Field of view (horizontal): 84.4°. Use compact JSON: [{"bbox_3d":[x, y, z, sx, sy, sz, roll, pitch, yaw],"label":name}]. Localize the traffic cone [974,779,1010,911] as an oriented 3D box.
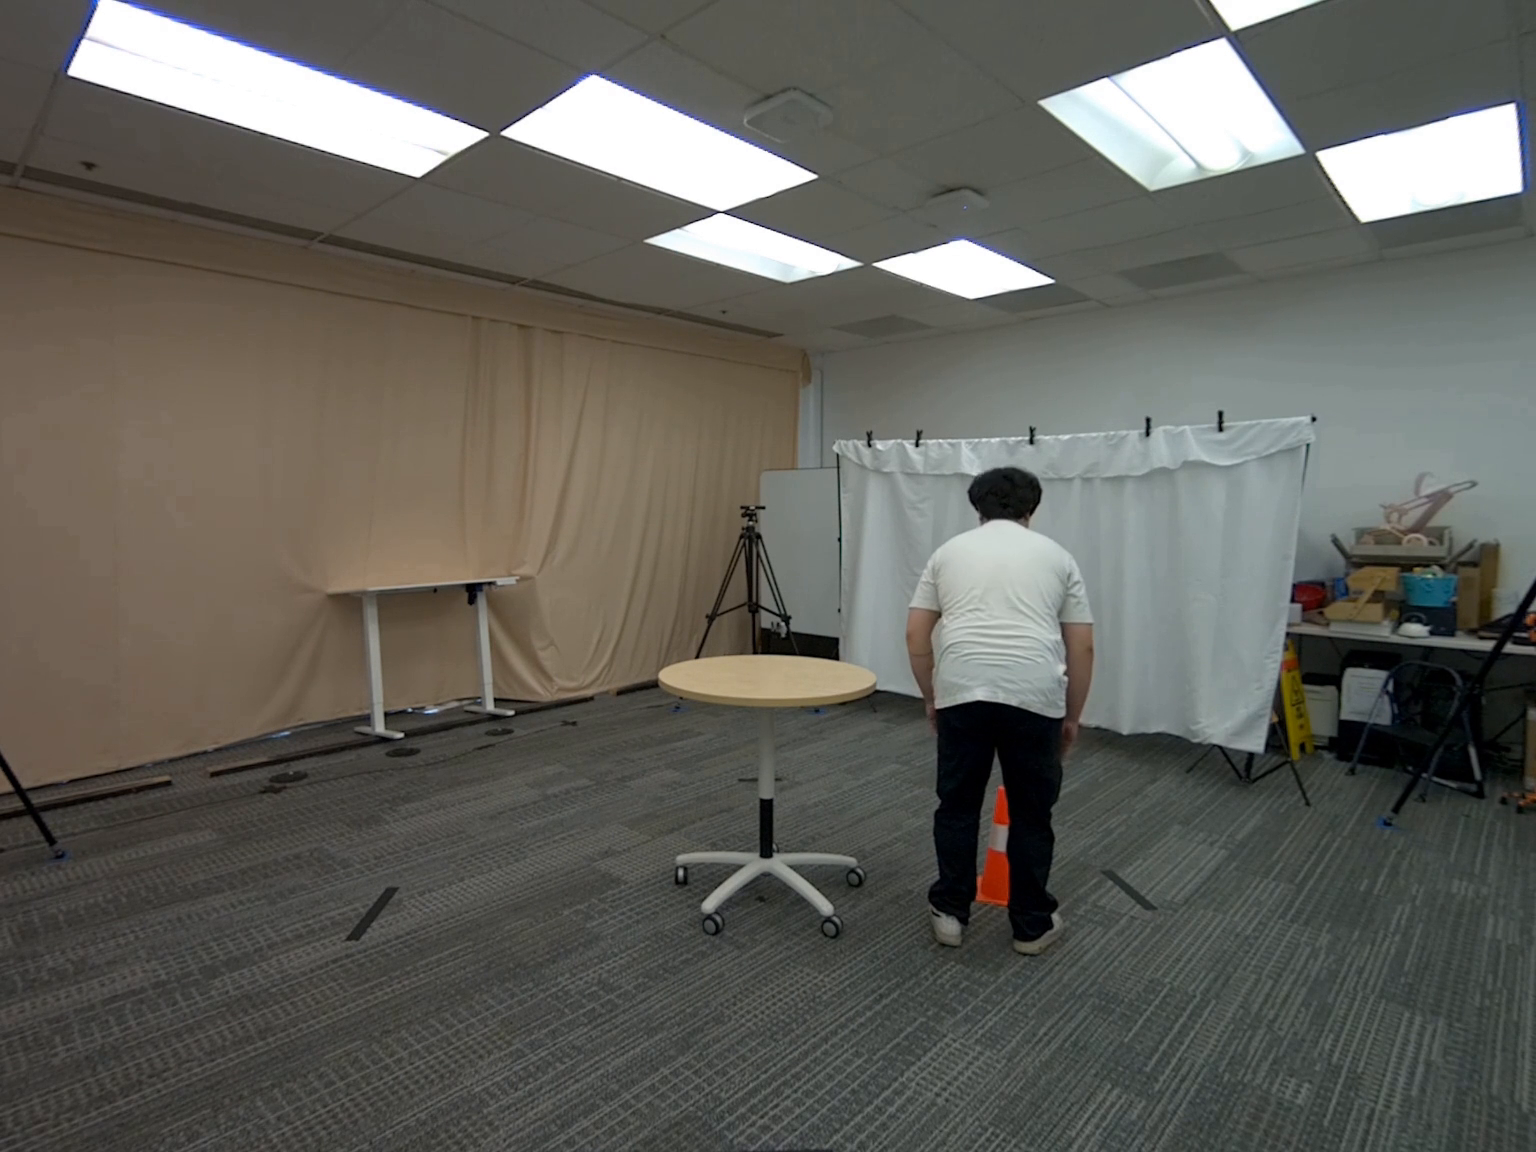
[{"bbox_3d":[0.861,0.956,3.017,0.209,0.383,0.199,0,1,30],"label":"traffic cone"}]
